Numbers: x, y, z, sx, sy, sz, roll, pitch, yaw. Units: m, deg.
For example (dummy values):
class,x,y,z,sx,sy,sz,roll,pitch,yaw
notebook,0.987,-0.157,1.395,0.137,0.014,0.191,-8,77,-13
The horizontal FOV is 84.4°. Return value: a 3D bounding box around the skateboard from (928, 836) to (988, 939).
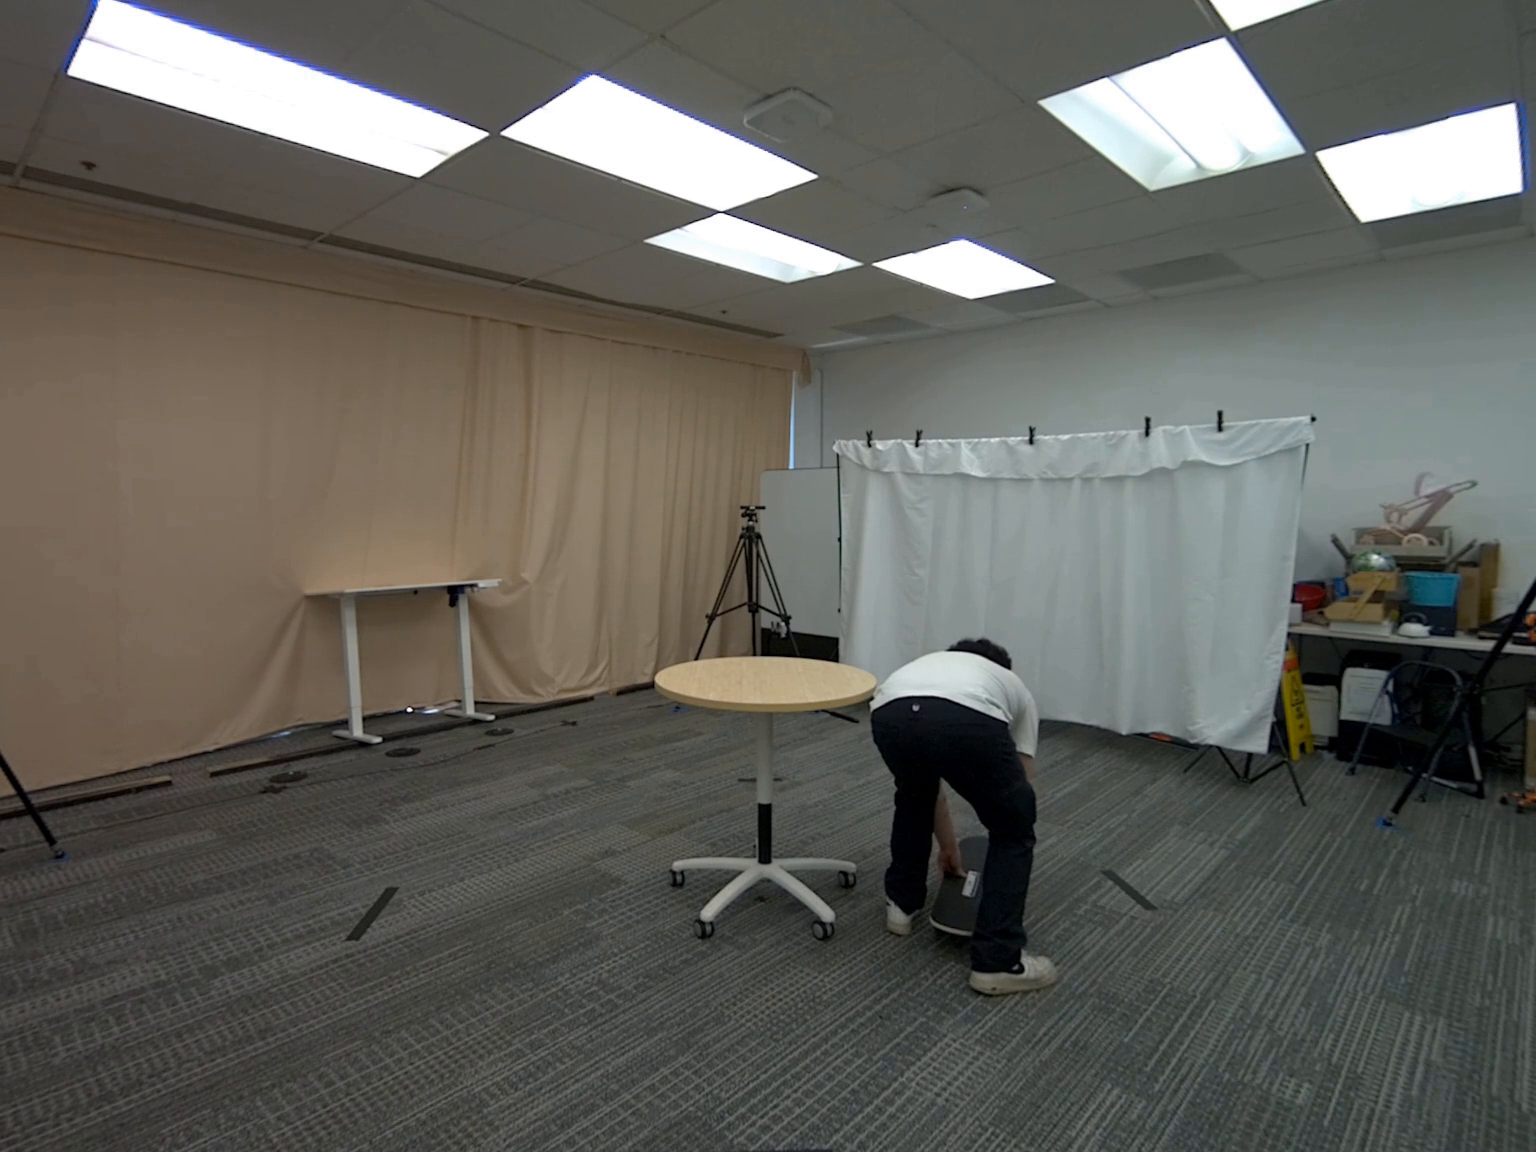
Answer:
class,x,y,z,sx,sy,sz,roll,pitch,yaw
skateboard,0.702,1.097,2.900,0.198,0.110,0.770,1,5,20
